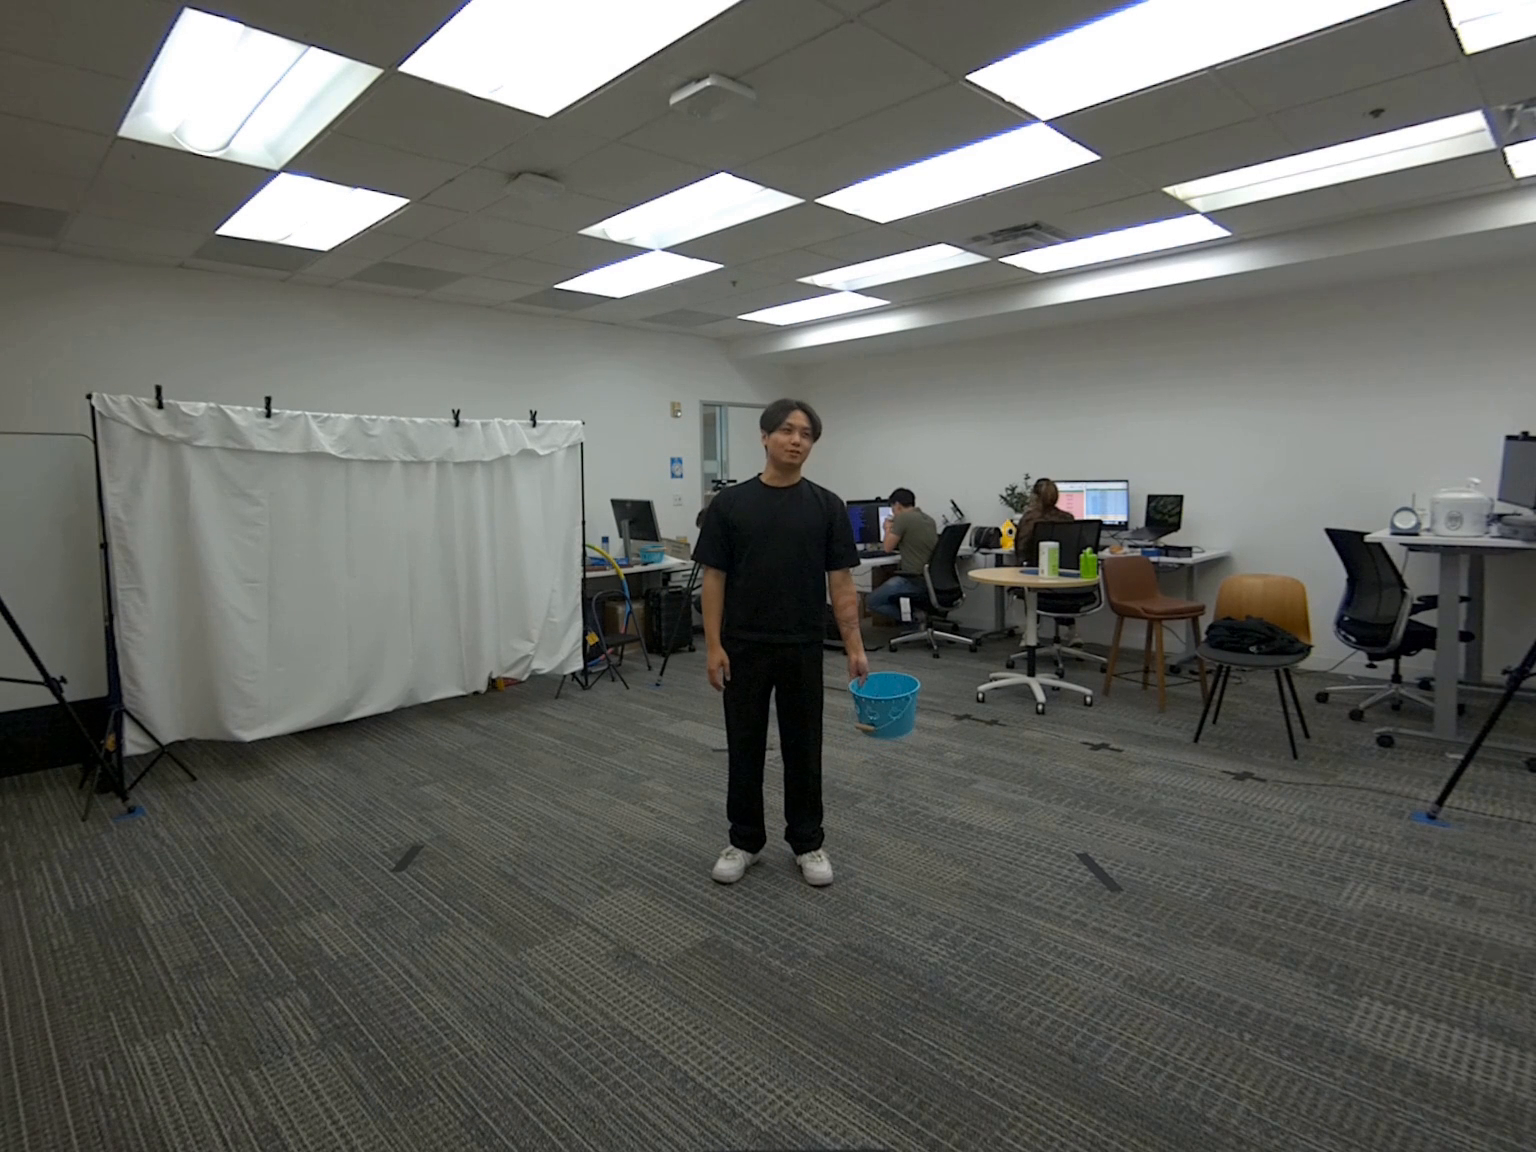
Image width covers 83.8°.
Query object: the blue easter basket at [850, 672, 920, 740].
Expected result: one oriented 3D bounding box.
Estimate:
[{"bbox_3d":[0.386,0.437,2.837,0.243,0.154,0.246,-4,11,-1],"label":"blue easter basket"}]
